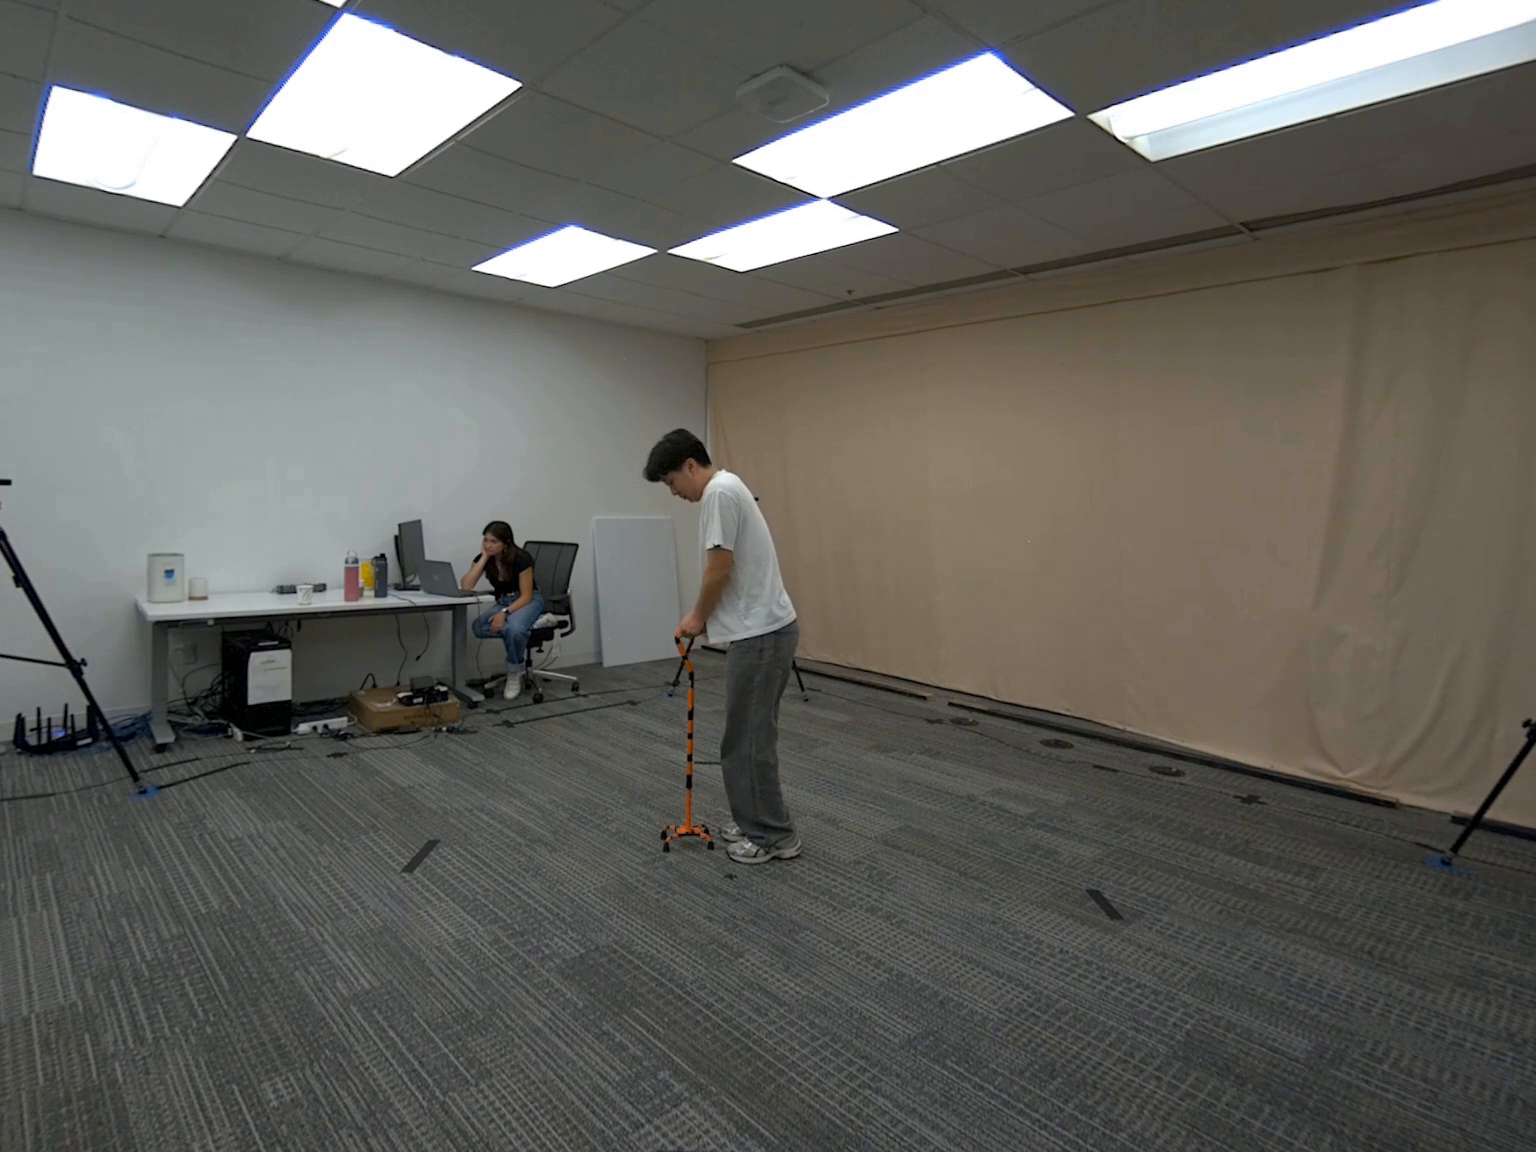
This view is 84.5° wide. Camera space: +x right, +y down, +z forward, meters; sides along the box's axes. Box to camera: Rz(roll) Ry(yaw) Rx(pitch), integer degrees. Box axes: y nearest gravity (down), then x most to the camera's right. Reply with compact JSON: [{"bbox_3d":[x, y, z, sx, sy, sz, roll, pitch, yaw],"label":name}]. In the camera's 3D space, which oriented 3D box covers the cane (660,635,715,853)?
[{"bbox_3d":[-0.309,0.636,3.352,0.204,0.904,0.154,1,5,-14],"label":"cane"}]
